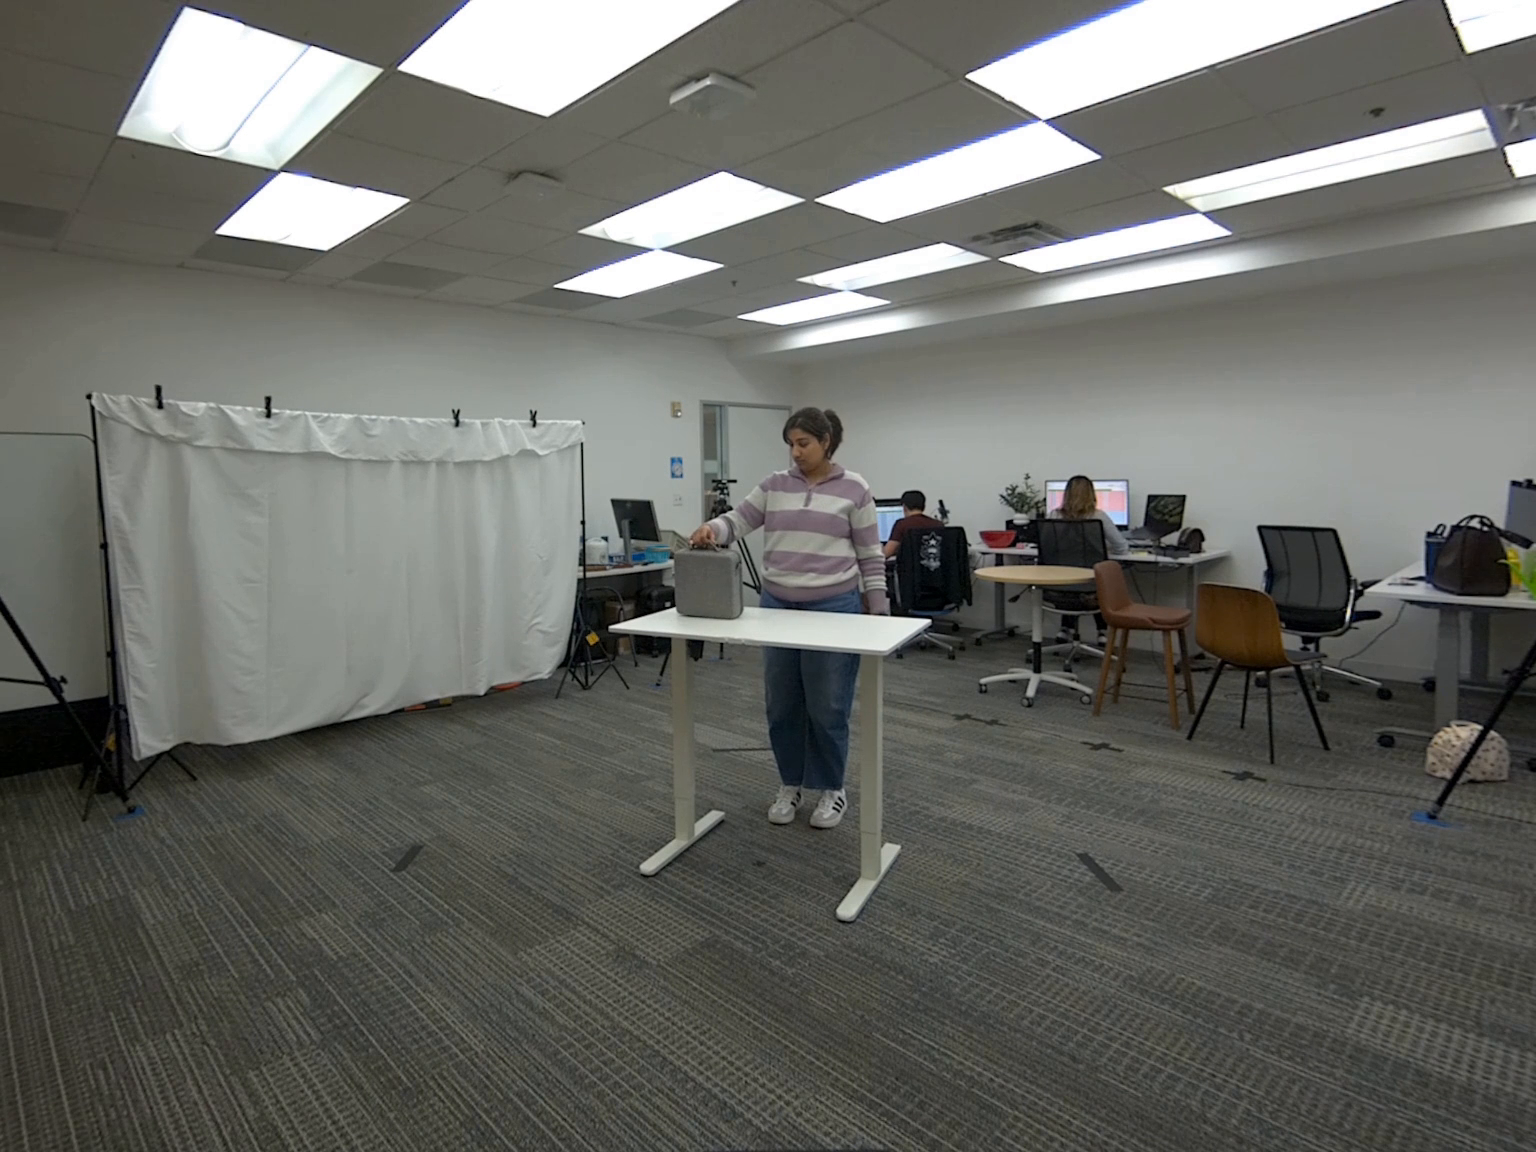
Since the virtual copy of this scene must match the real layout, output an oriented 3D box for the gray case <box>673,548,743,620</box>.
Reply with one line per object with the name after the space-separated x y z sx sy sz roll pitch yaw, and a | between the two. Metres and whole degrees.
-0.214 0.023 3.190 0.262 0.258 0.103 2 10 23 | gray case
